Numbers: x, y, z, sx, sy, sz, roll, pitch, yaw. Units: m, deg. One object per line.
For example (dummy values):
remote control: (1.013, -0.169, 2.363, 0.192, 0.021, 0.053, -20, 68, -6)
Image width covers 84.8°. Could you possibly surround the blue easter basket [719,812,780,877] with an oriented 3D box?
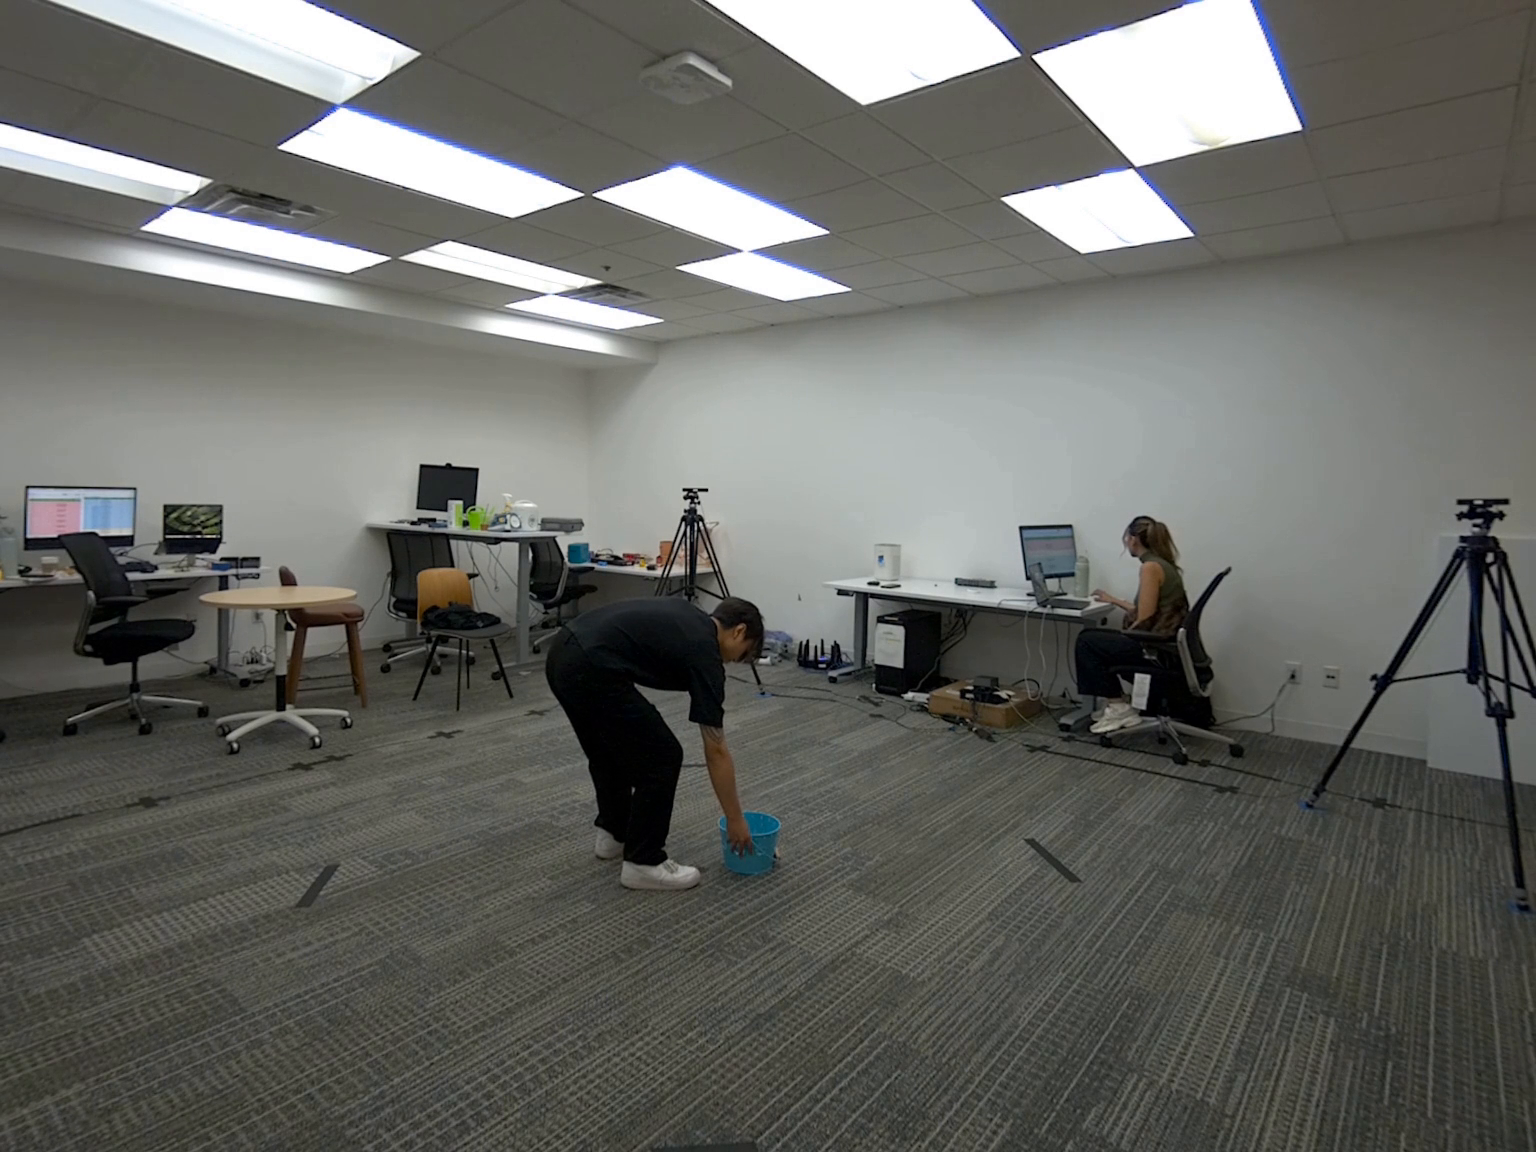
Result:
blue easter basket: (-0.074, 0.990, 3.160, 0.243, 0.155, 0.244, 2, 4, -2)
